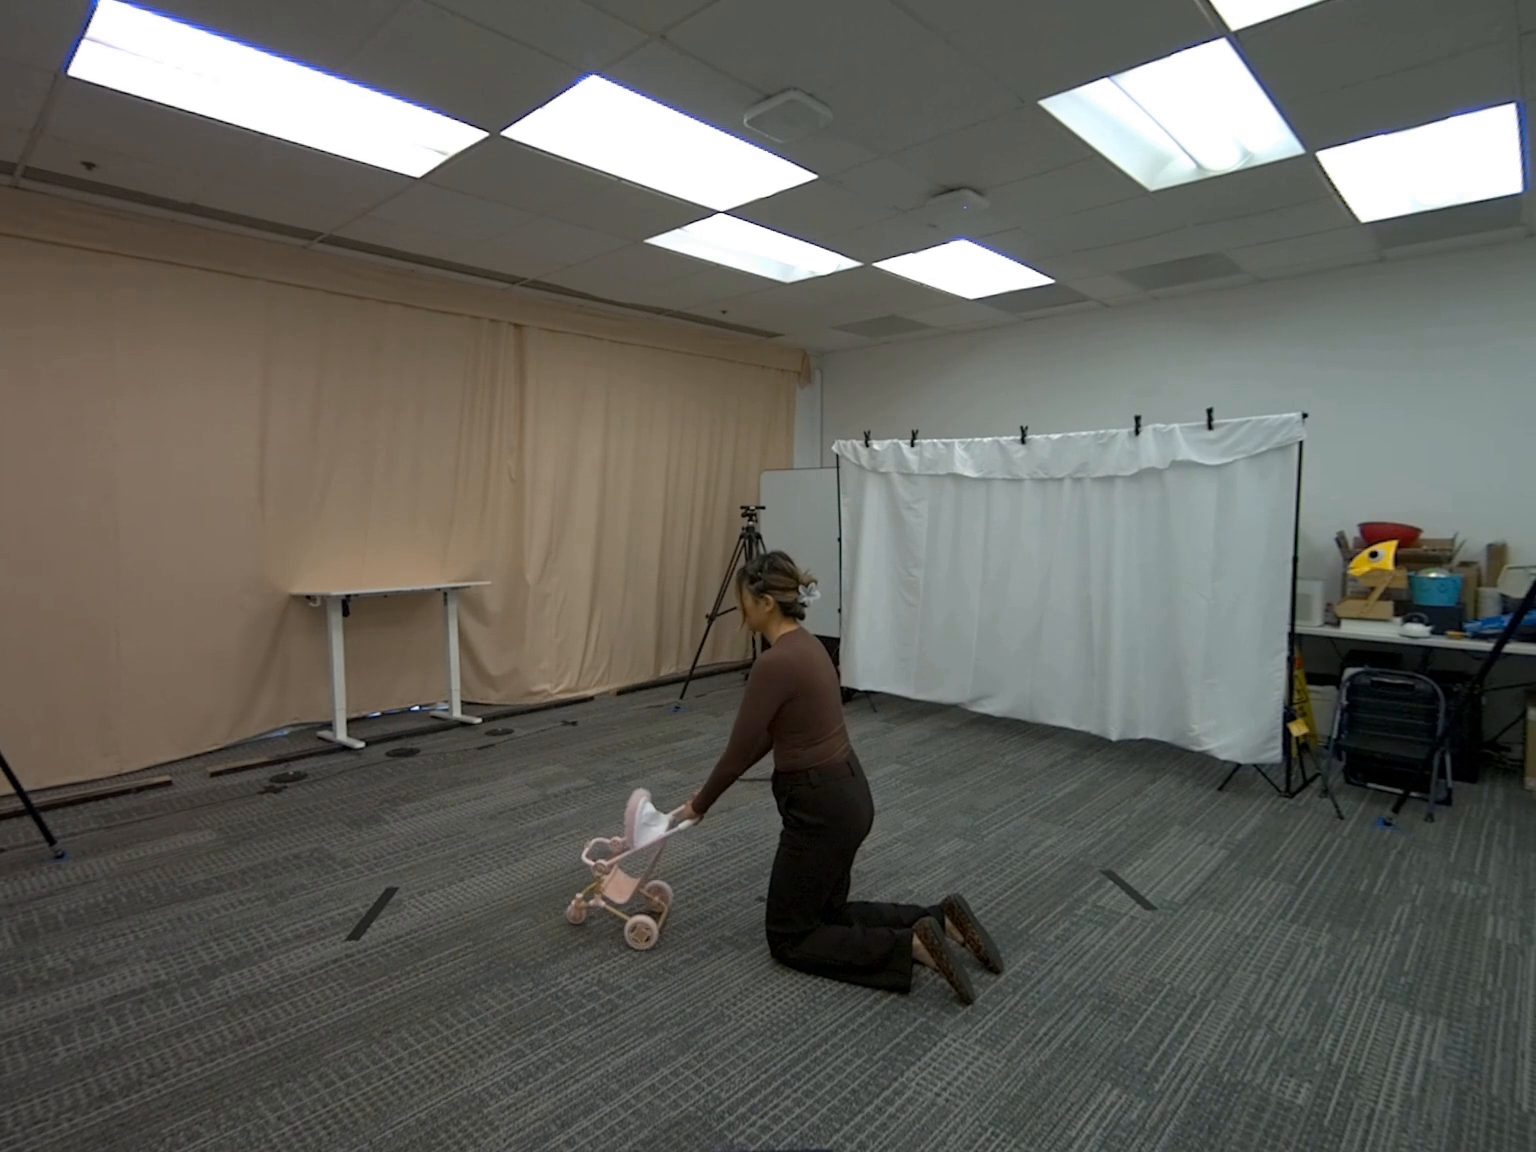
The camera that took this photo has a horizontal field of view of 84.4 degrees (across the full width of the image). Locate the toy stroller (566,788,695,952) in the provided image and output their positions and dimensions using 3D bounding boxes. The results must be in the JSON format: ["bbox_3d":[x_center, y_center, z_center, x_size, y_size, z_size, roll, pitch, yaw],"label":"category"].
[{"bbox_3d":[-0.444,0.941,2.773,0.346,0.534,0.278,18,6,10],"label":"toy stroller"}]
